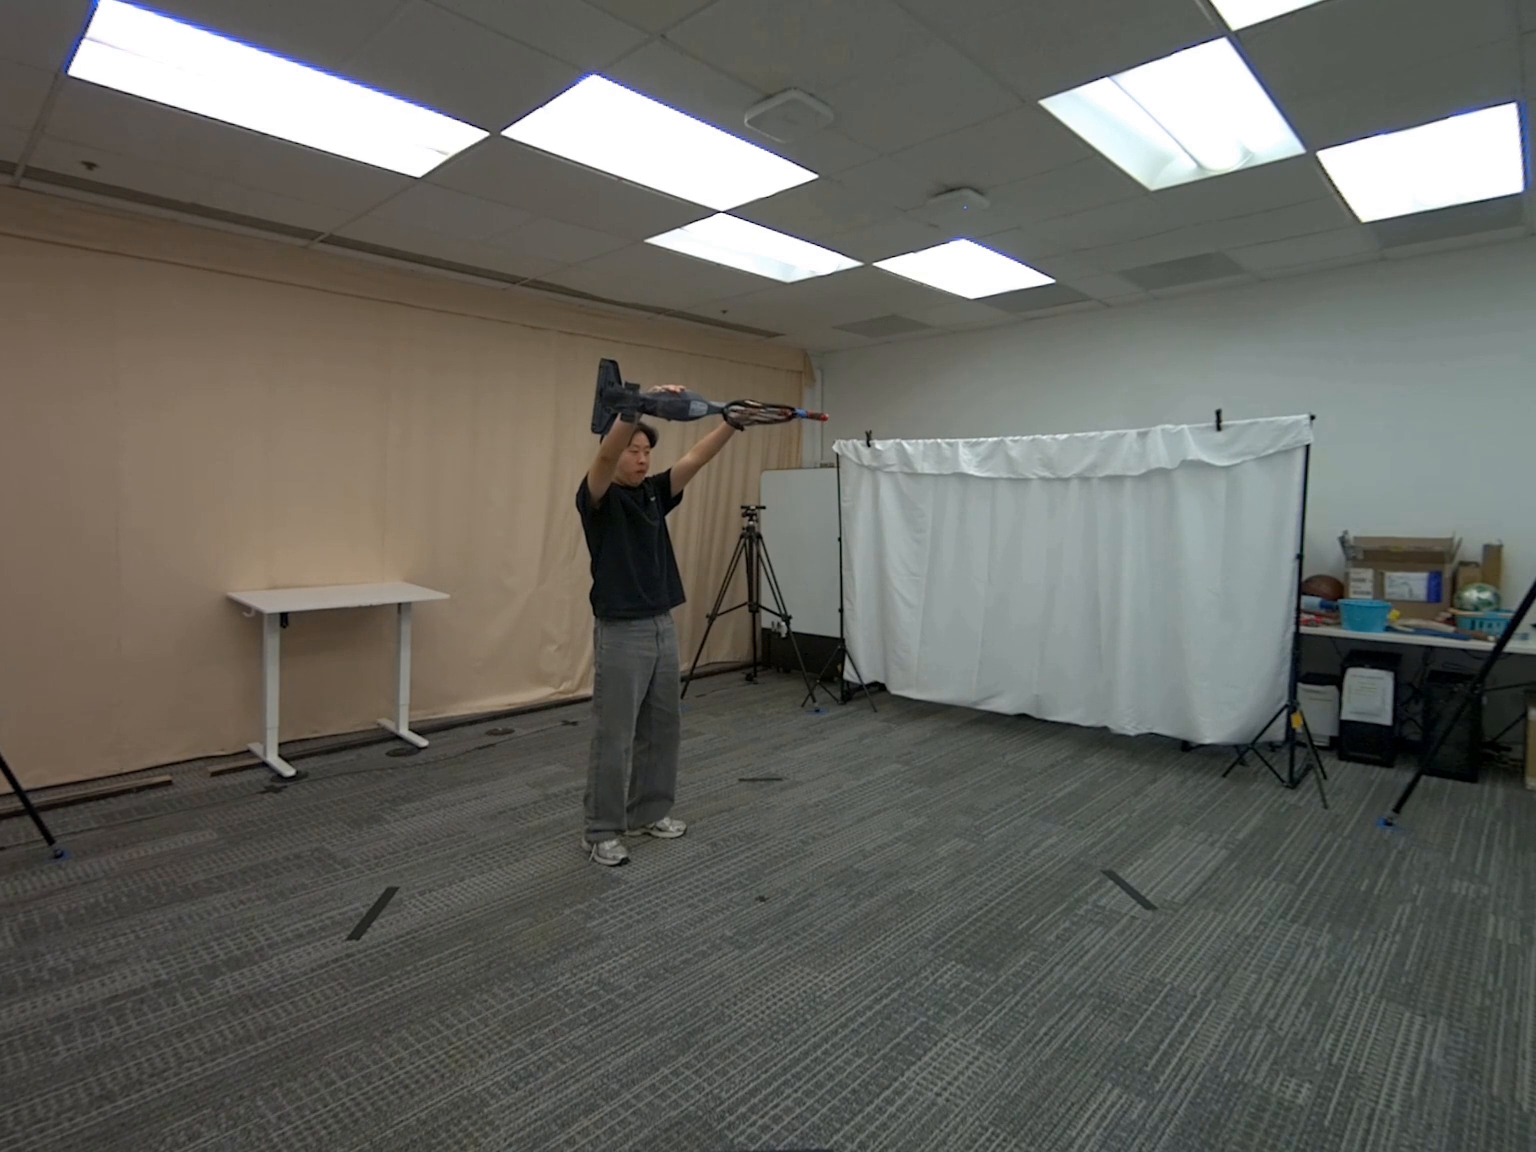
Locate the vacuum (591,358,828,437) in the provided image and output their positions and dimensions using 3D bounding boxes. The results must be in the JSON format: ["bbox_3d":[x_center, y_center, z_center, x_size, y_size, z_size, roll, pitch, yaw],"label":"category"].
[{"bbox_3d":[-0.138,-0.613,3.152,1.017,0.251,0.149,-5,24,-42],"label":"vacuum"}]
